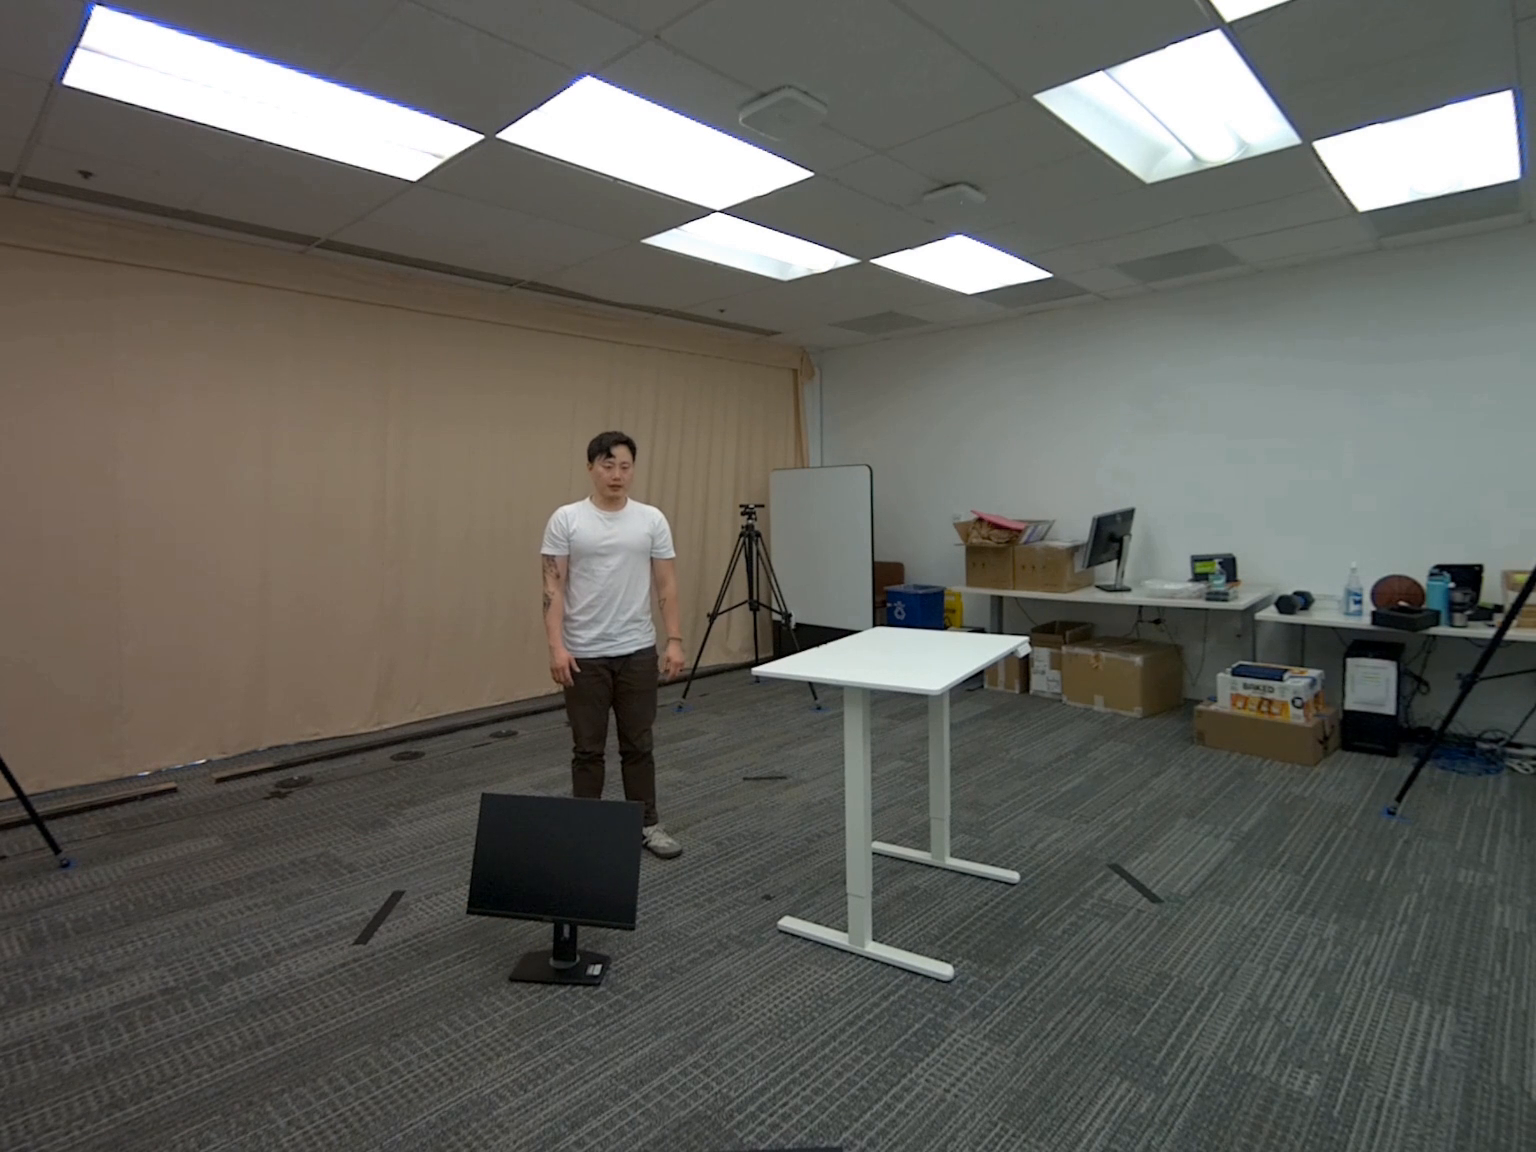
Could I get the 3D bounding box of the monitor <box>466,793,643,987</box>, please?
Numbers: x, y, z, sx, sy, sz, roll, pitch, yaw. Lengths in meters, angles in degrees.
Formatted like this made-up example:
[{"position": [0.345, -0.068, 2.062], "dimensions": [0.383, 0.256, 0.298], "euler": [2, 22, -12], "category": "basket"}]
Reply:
[{"position": [-0.632, 0.930, 2.549], "dimensions": [0.545, 0.523, 0.185], "euler": [-2, 0, 10], "category": "monitor"}]
